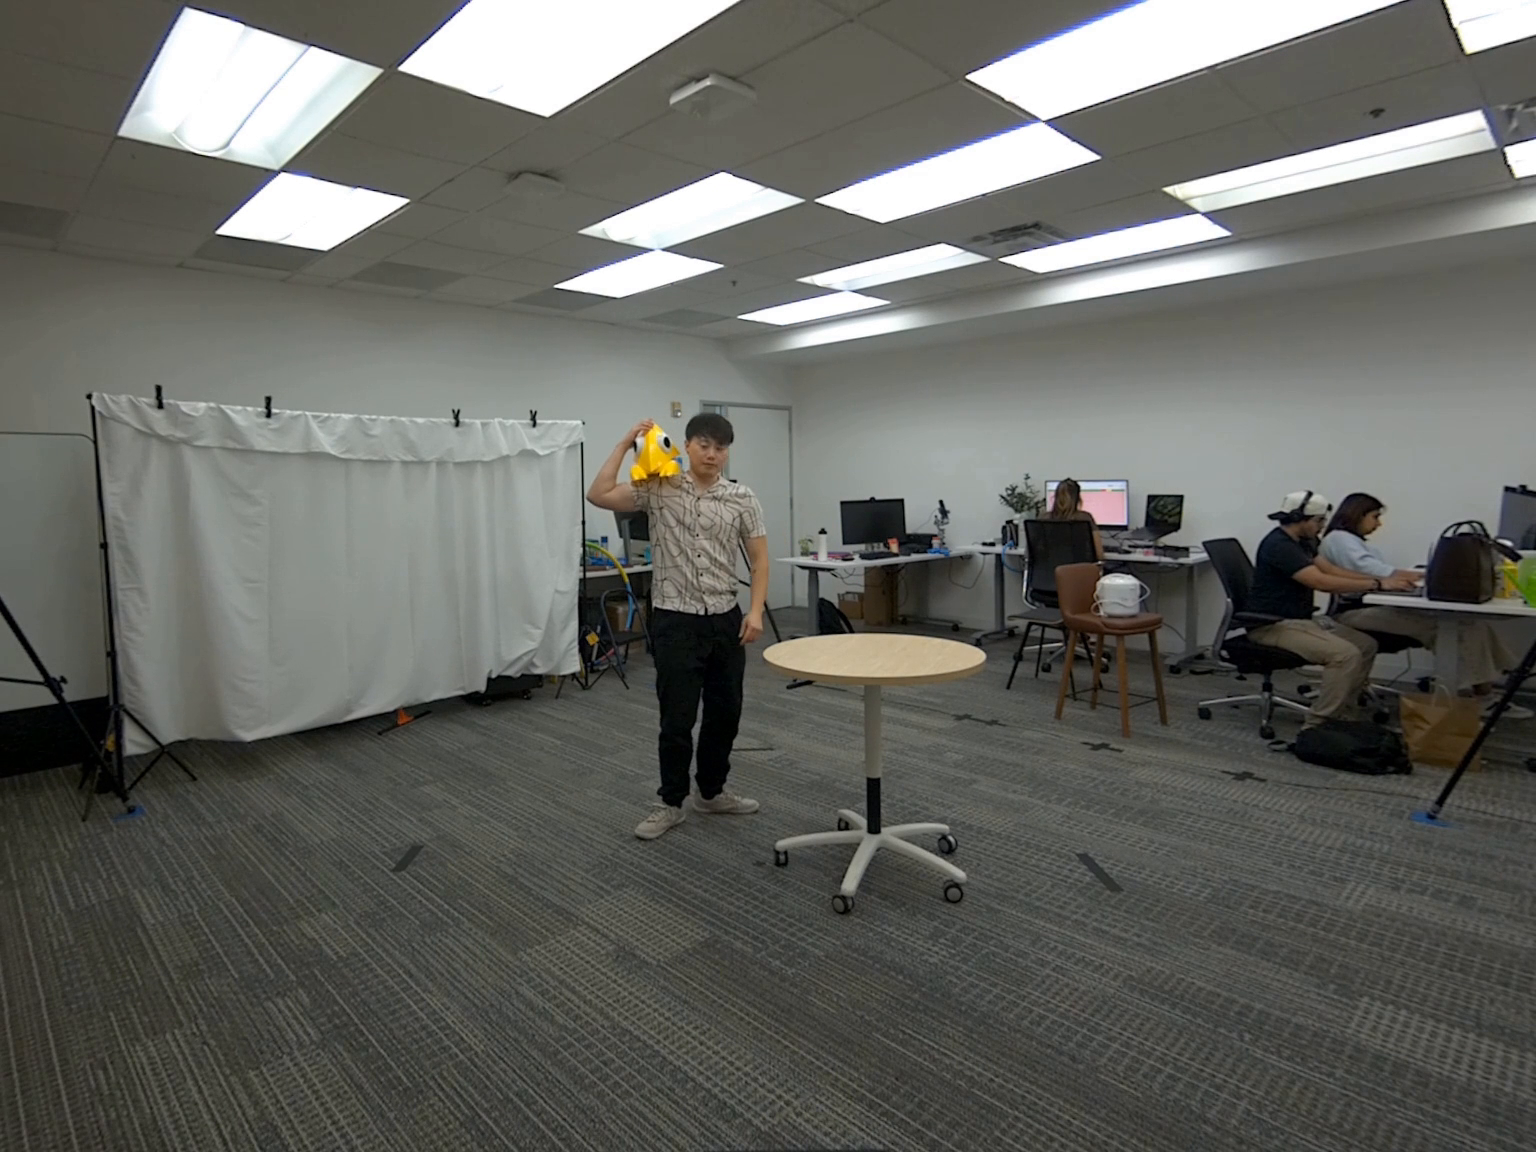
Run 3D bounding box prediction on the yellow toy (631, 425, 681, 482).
[{"bbox_3d":[-0.464,-0.514,3.436,0.205,0.229,0.193,-7,6,4],"label":"yellow toy"}]
